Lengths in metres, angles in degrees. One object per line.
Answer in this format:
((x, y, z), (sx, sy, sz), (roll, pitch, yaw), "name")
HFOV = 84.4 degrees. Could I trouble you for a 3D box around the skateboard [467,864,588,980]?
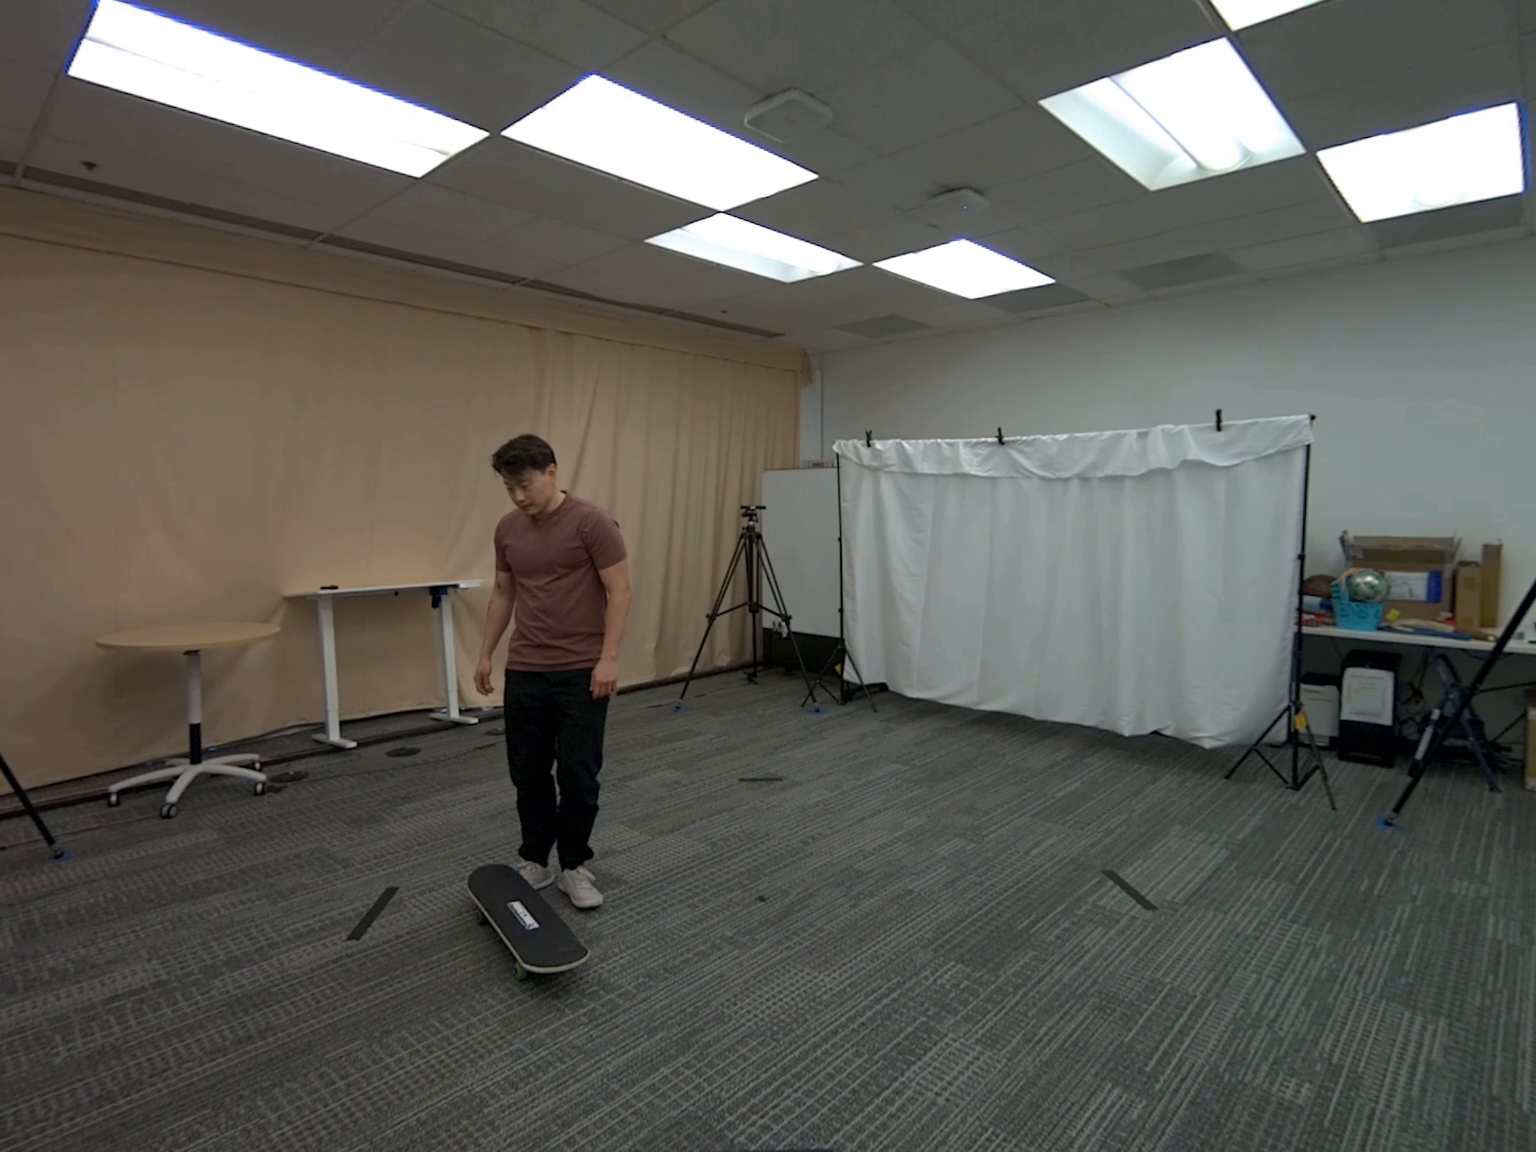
((-0.784, 1.119, 2.690), (0.188, 0.110, 0.810), (-3, 5, -35), "skateboard")
